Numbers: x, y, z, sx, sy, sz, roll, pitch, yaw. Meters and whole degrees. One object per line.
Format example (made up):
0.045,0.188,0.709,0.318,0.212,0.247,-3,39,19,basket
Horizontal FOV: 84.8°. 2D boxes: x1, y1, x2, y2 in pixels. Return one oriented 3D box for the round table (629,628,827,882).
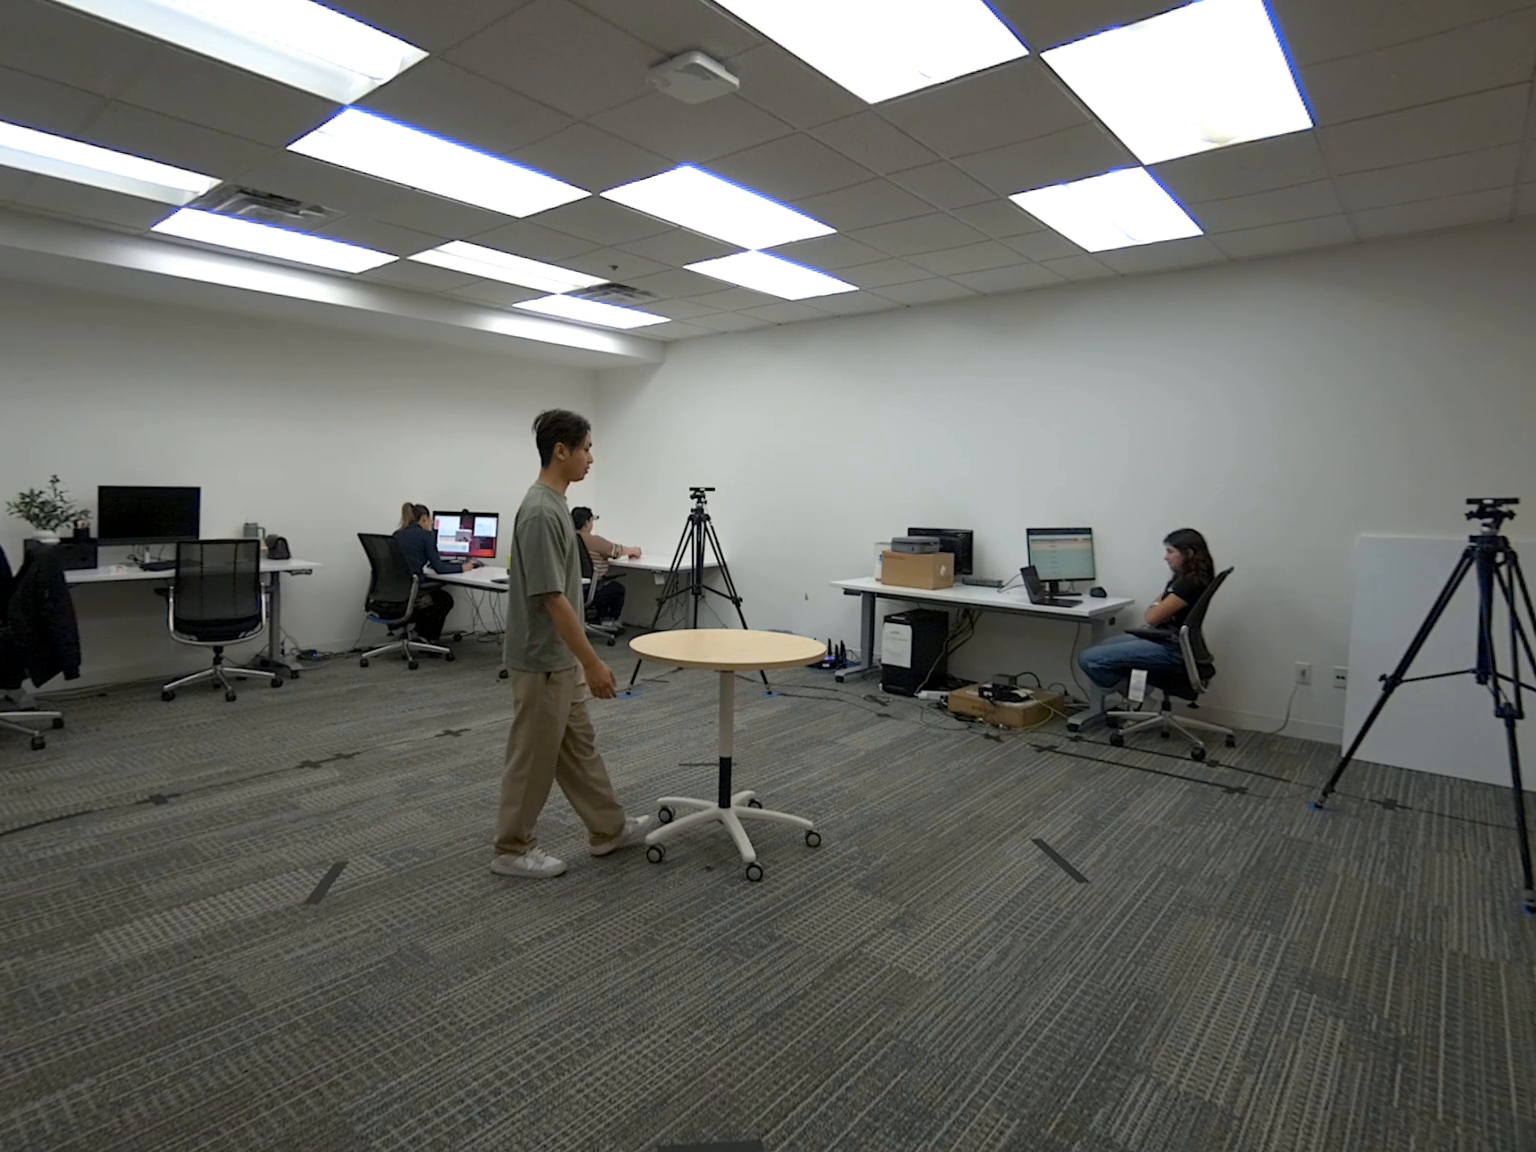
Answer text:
-0.160,0.655,3.340,0.784,0.784,0.789,1,4,-2,round table
